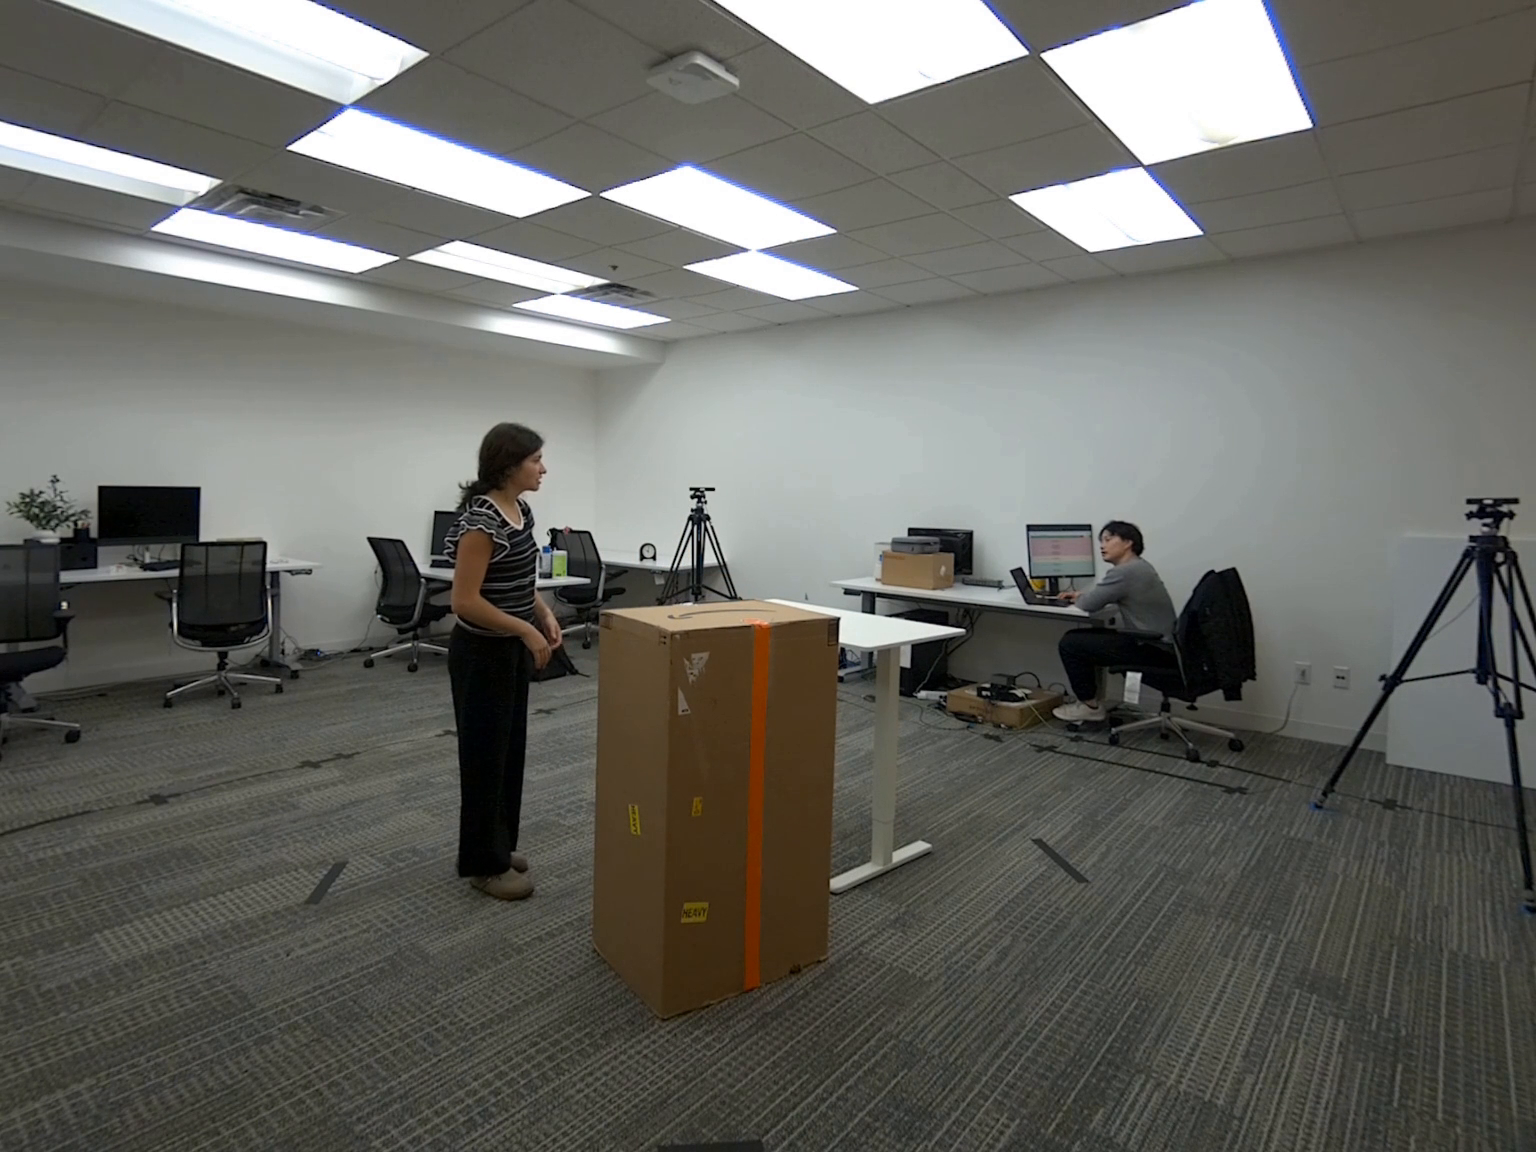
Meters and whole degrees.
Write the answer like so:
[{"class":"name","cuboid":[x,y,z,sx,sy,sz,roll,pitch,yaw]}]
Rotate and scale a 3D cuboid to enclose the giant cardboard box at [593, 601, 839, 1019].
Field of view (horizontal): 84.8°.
[{"class":"giant cardboard box","cuboid":[-0.164,0.616,2.513,0.561,1.023,0.440,-1,4,-35]}]
